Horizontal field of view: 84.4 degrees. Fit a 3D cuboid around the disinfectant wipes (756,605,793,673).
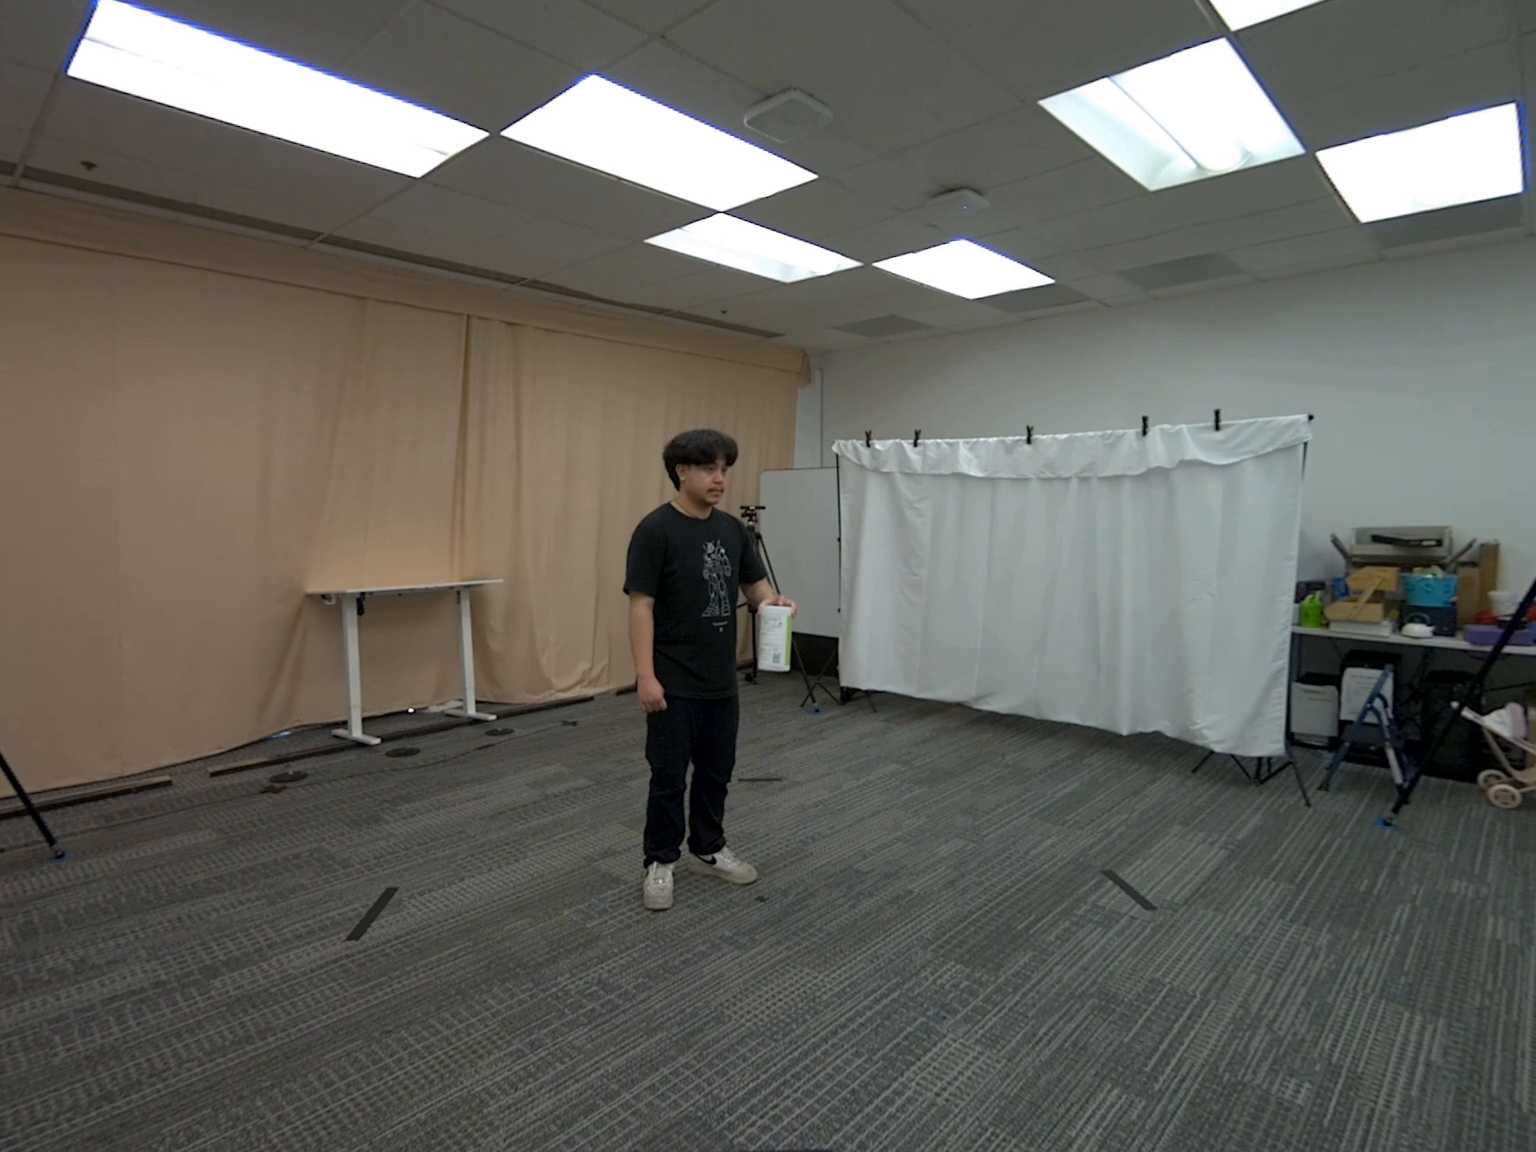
[{"bbox_3d":[0.029,0.217,2.827,0.118,0.217,0.118,4,-1,-2],"label":"disinfectant wipes"}]
